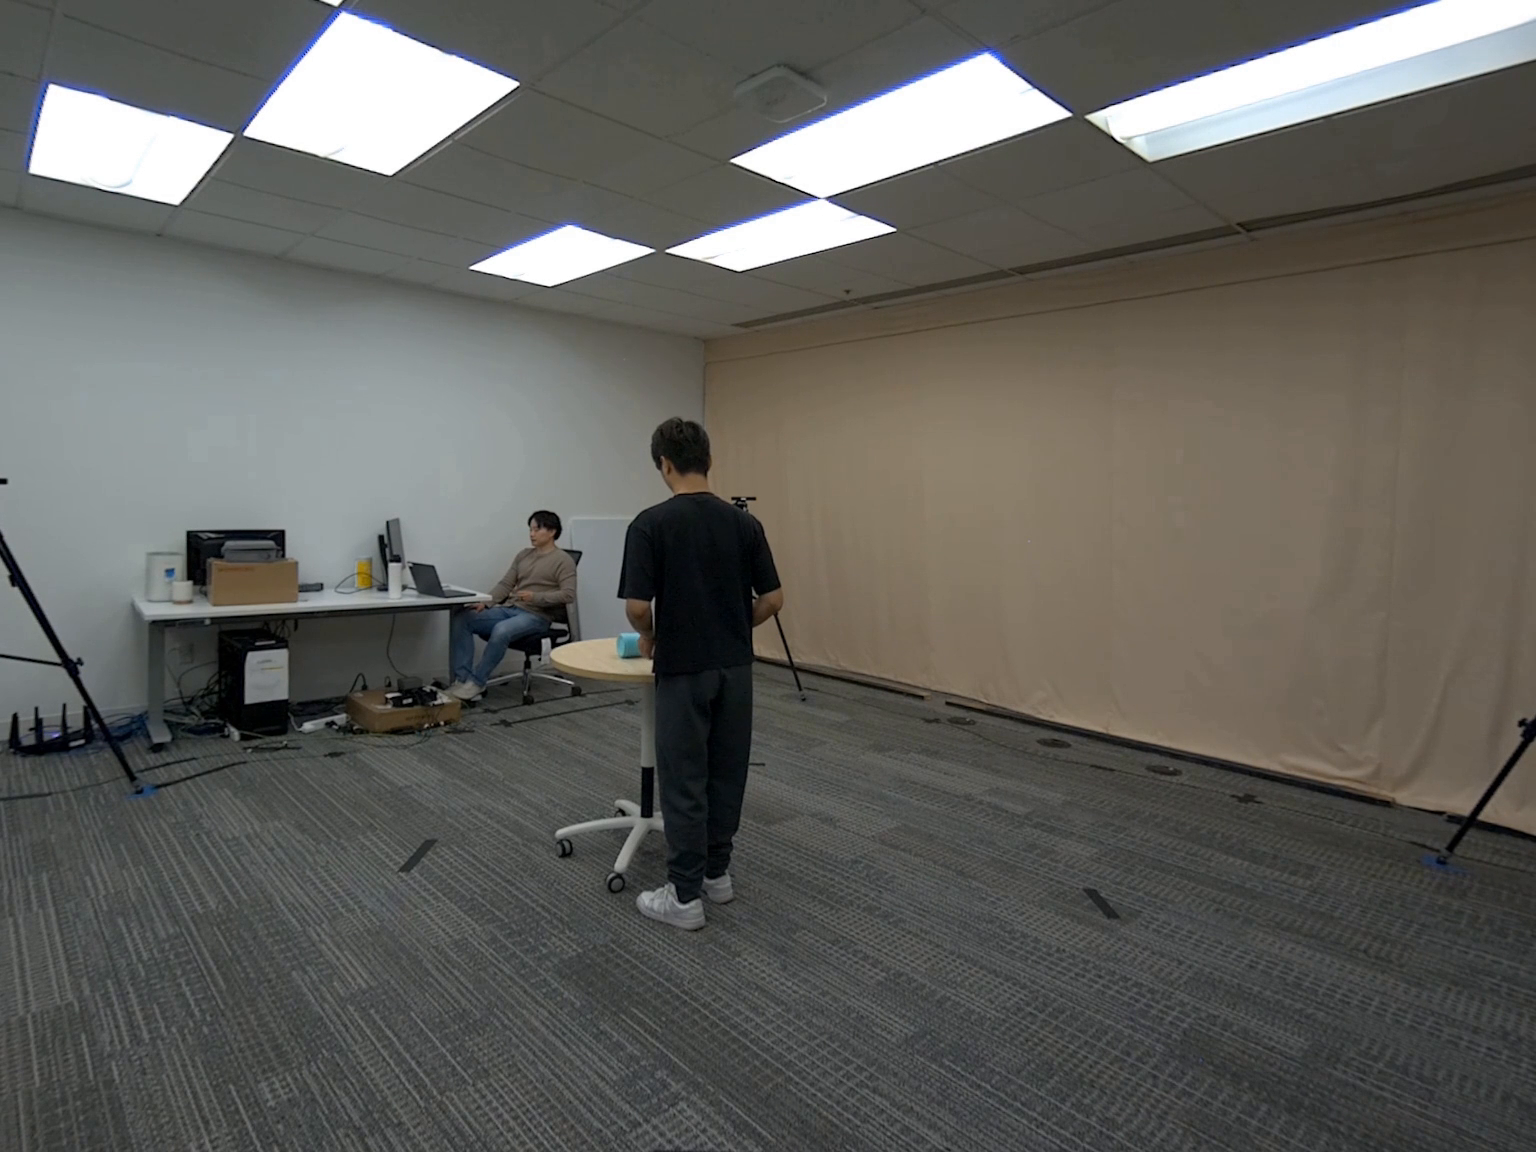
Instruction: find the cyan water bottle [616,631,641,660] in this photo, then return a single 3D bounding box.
[{"bbox_3d":[-0.433,0.262,3.232,0.278,0.092,0.094,2,3,-25],"label":"cyan water bottle"}]
